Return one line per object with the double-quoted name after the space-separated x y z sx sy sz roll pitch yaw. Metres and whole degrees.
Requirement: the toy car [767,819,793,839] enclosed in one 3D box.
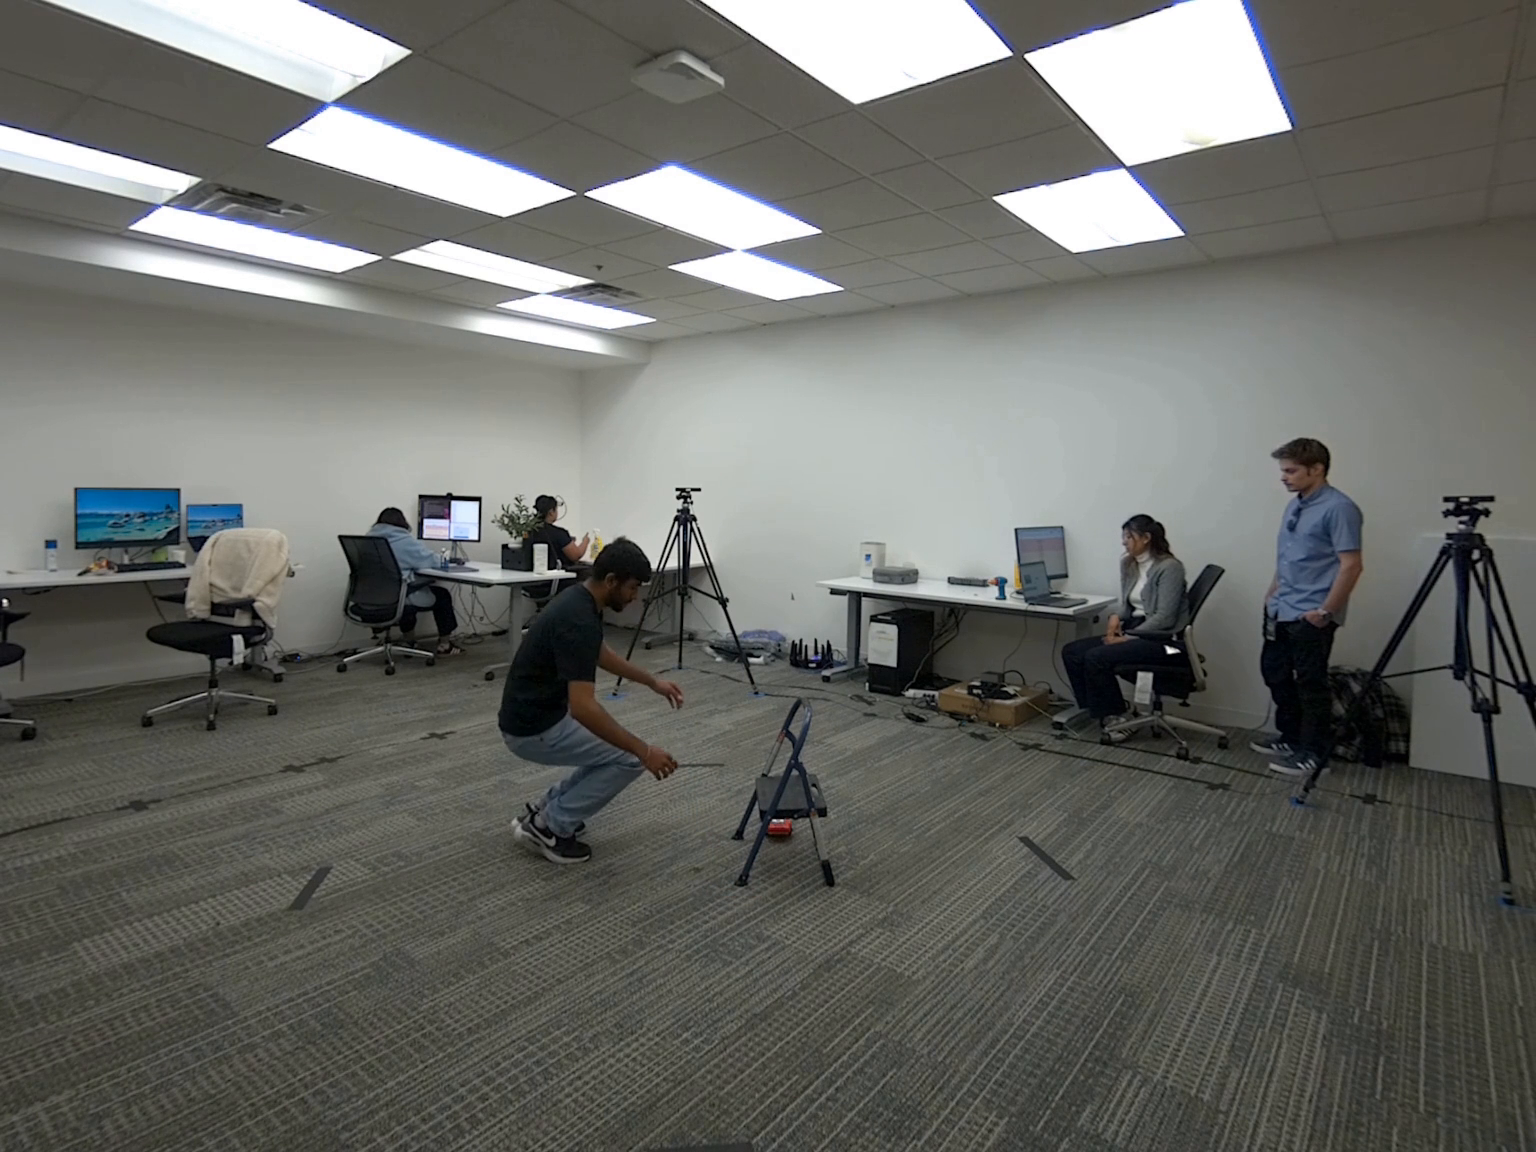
0.031 1.018 3.490 0.131 0.084 0.251 -1 -10 2 "toy car"
